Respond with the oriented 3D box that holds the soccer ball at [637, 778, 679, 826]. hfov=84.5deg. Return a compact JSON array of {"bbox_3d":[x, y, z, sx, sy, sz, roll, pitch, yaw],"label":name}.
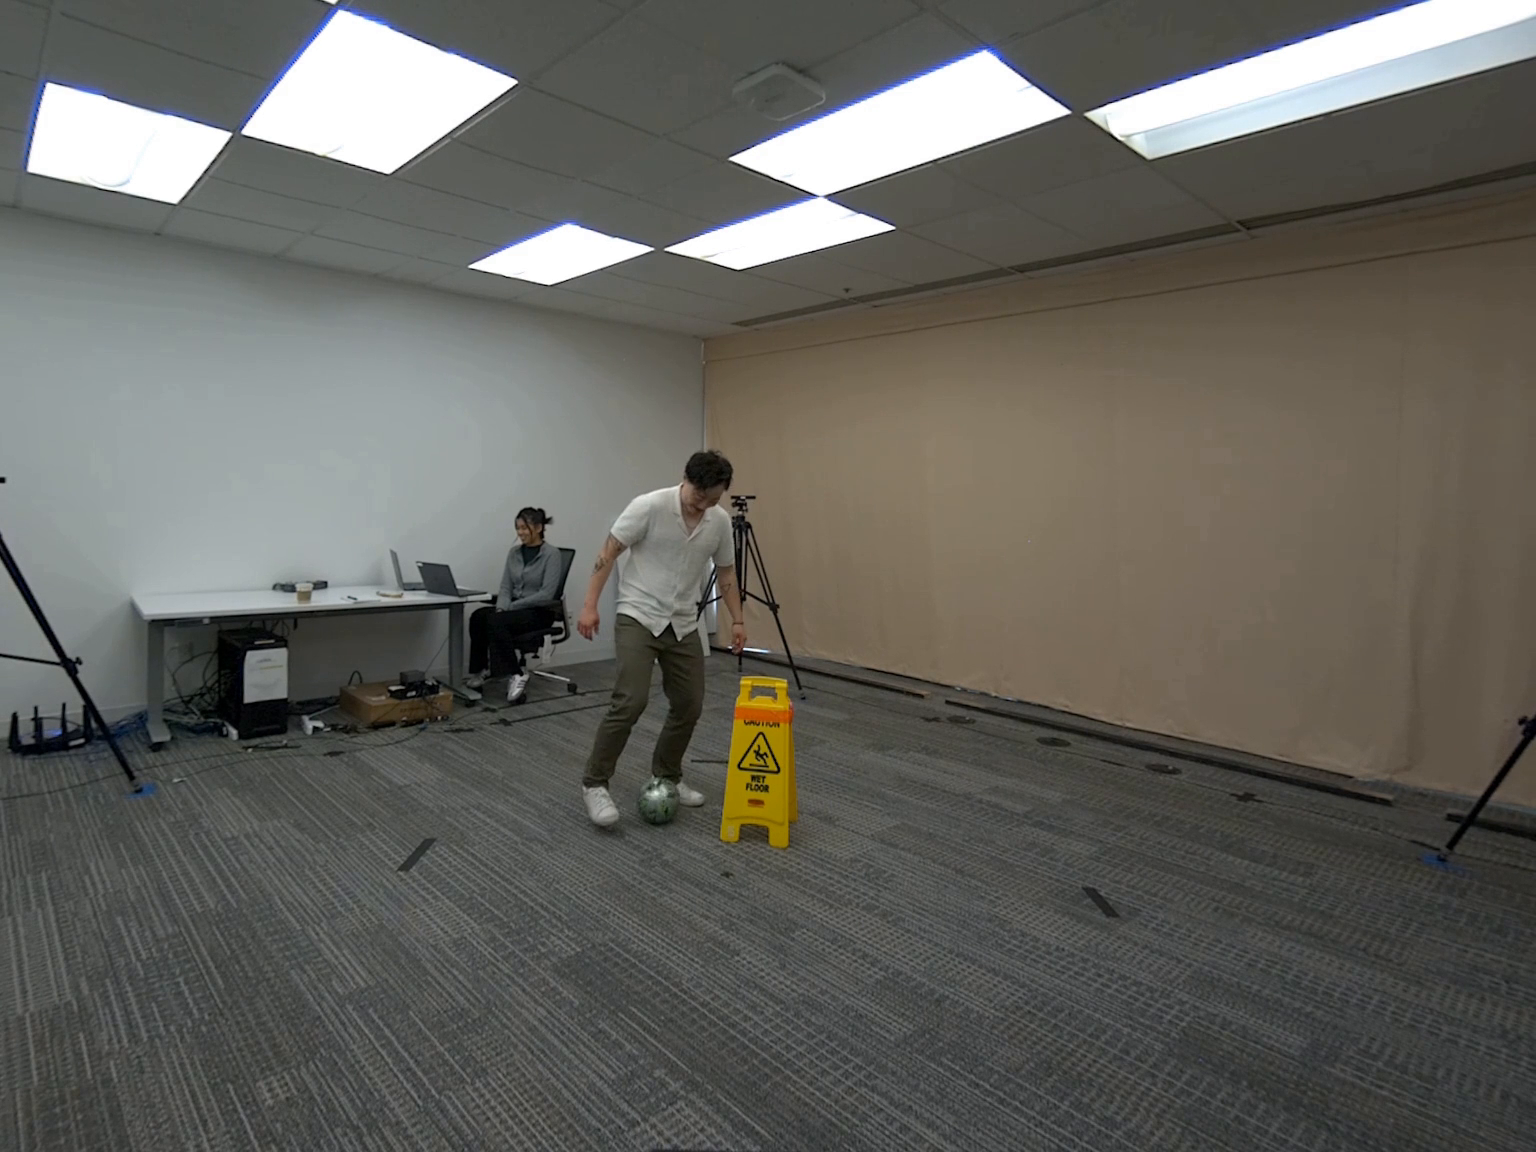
[{"bbox_3d":[-0.496,0.967,3.602,0.187,0.187,0.188,1,4,-1],"label":"soccer ball"}]
